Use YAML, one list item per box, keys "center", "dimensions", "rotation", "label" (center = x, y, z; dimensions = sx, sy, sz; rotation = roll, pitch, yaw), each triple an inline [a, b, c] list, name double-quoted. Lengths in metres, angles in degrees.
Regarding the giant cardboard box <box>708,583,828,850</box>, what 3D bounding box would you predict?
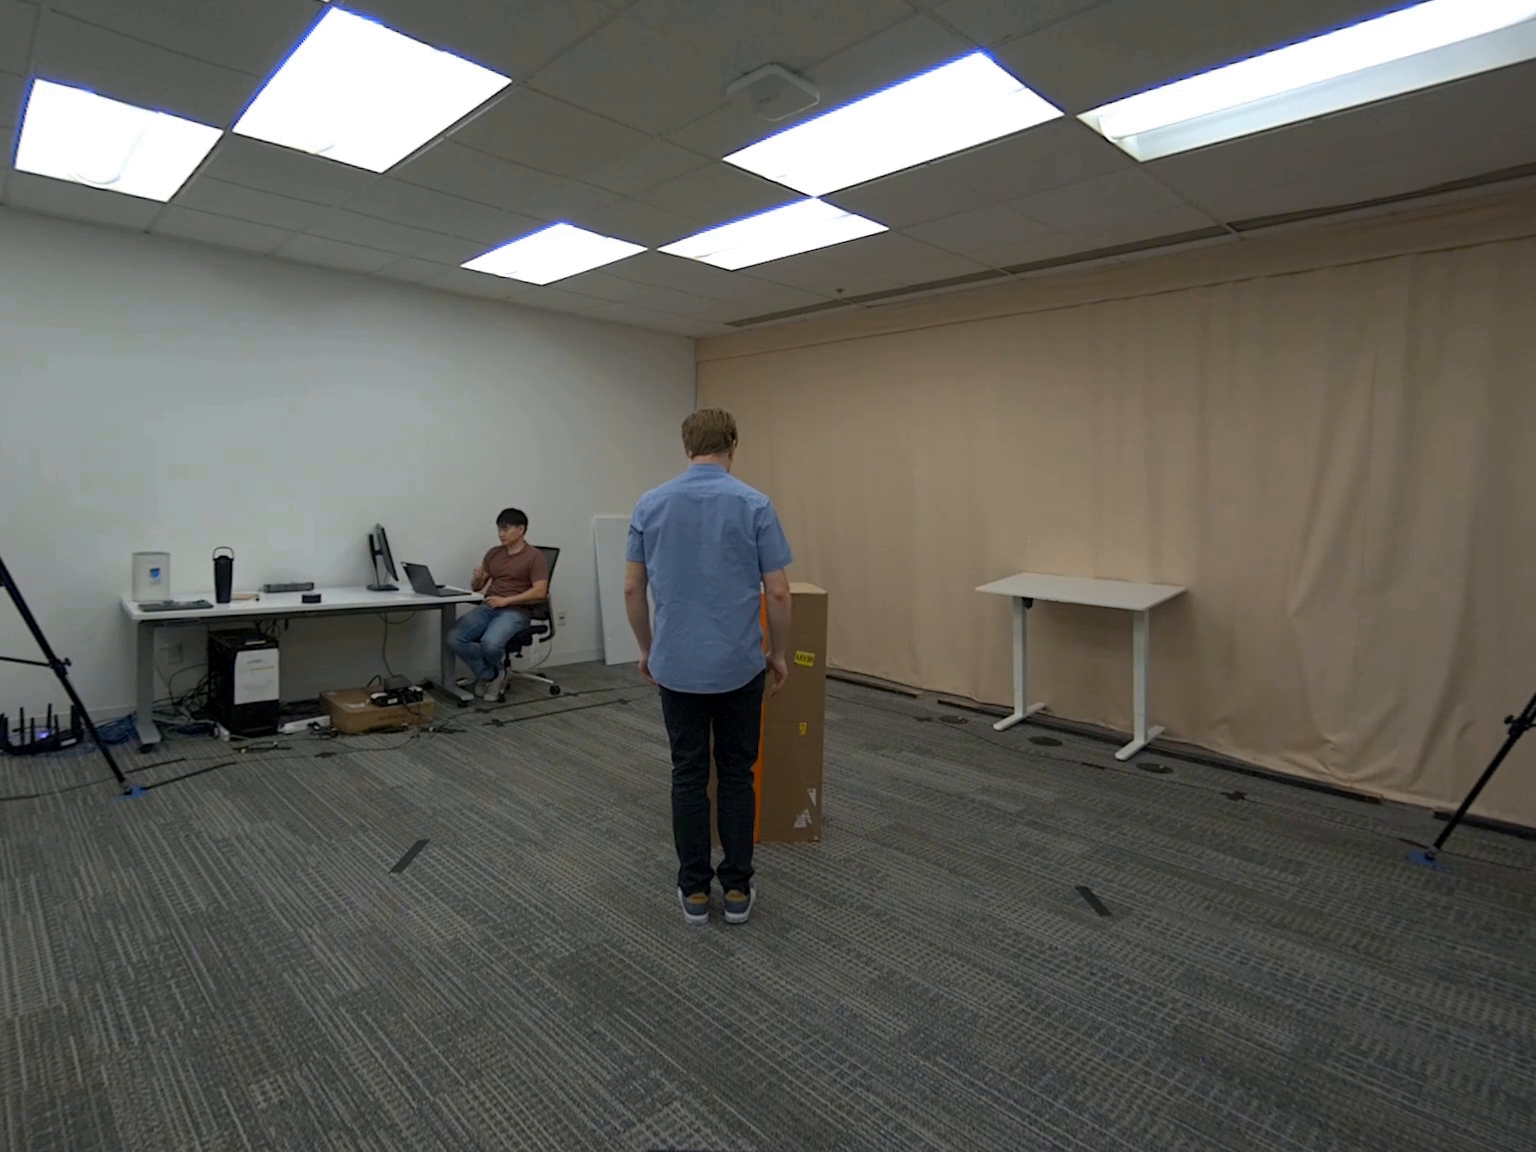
- center: [-0.081, 0.553, 3.582]
  dimensions: [0.581, 1.024, 0.450]
  rotation: [1, 4, -6]
  label: "giant cardboard box"
